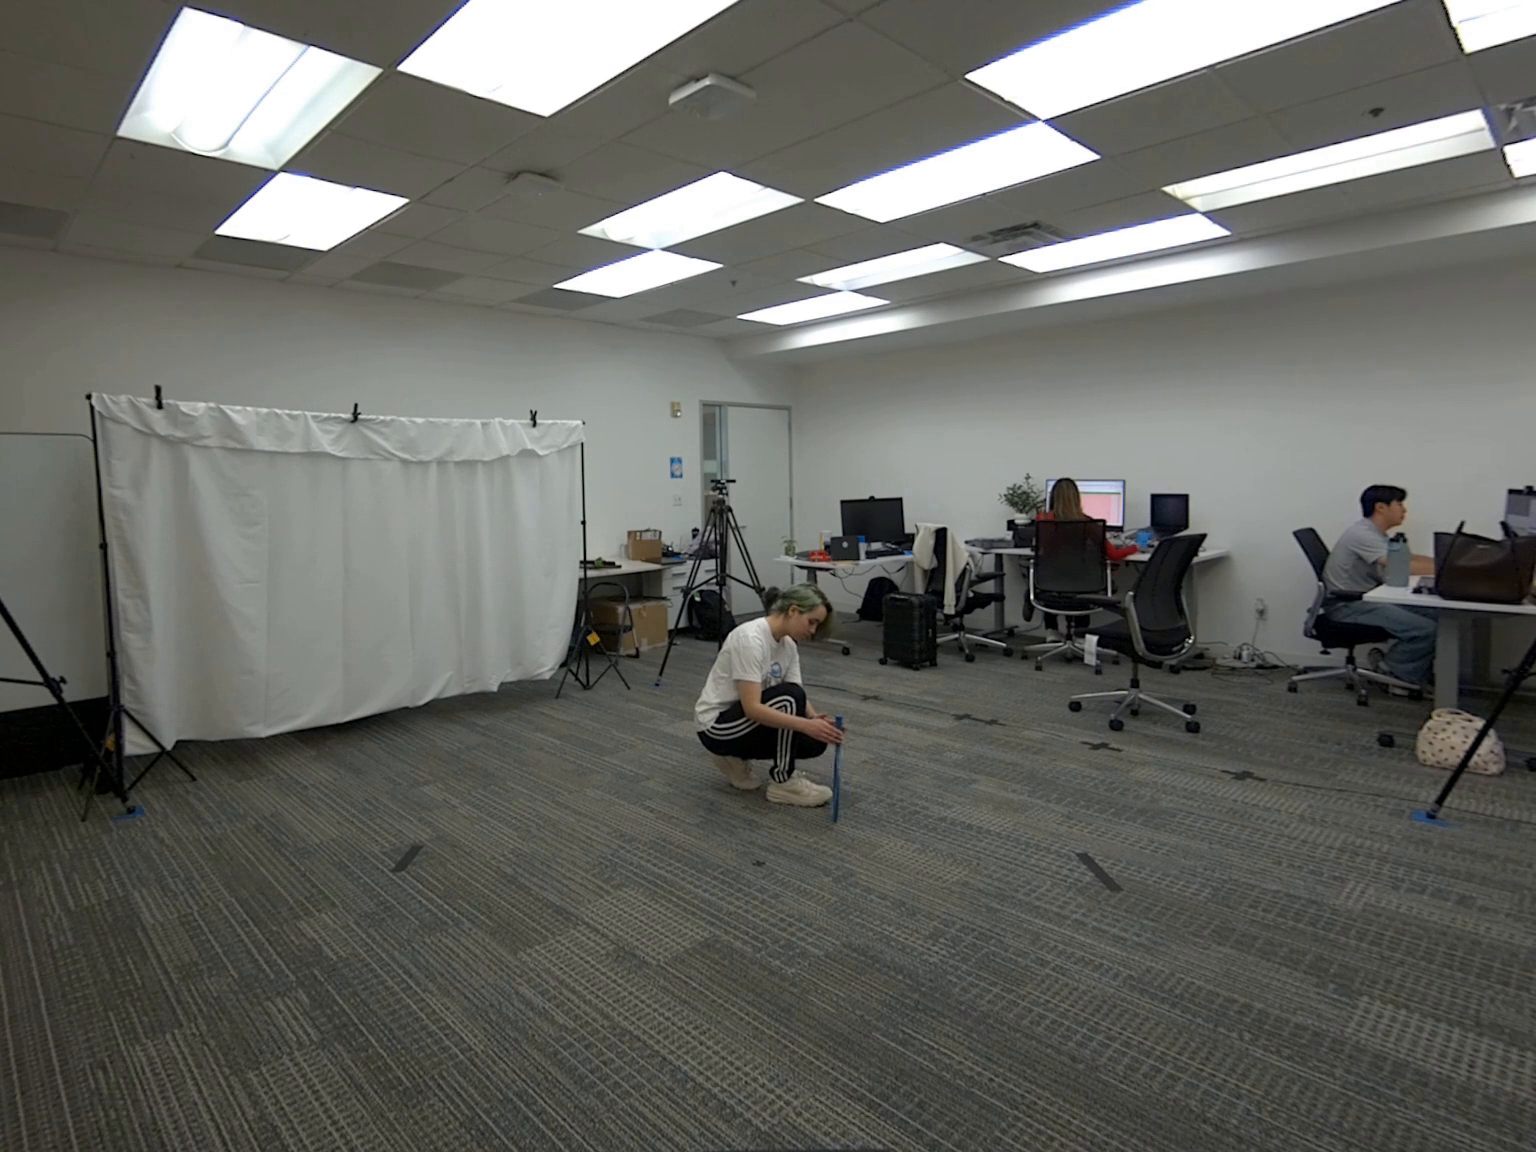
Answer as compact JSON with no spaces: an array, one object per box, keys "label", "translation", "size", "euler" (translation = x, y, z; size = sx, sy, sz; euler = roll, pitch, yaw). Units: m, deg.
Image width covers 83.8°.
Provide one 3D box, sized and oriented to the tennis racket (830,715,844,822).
[{"label":"tennis racket","translation":[0.282,0.785,3.493],"size":[0.032,0.432,0.214],"euler":[2,3,0]}]
